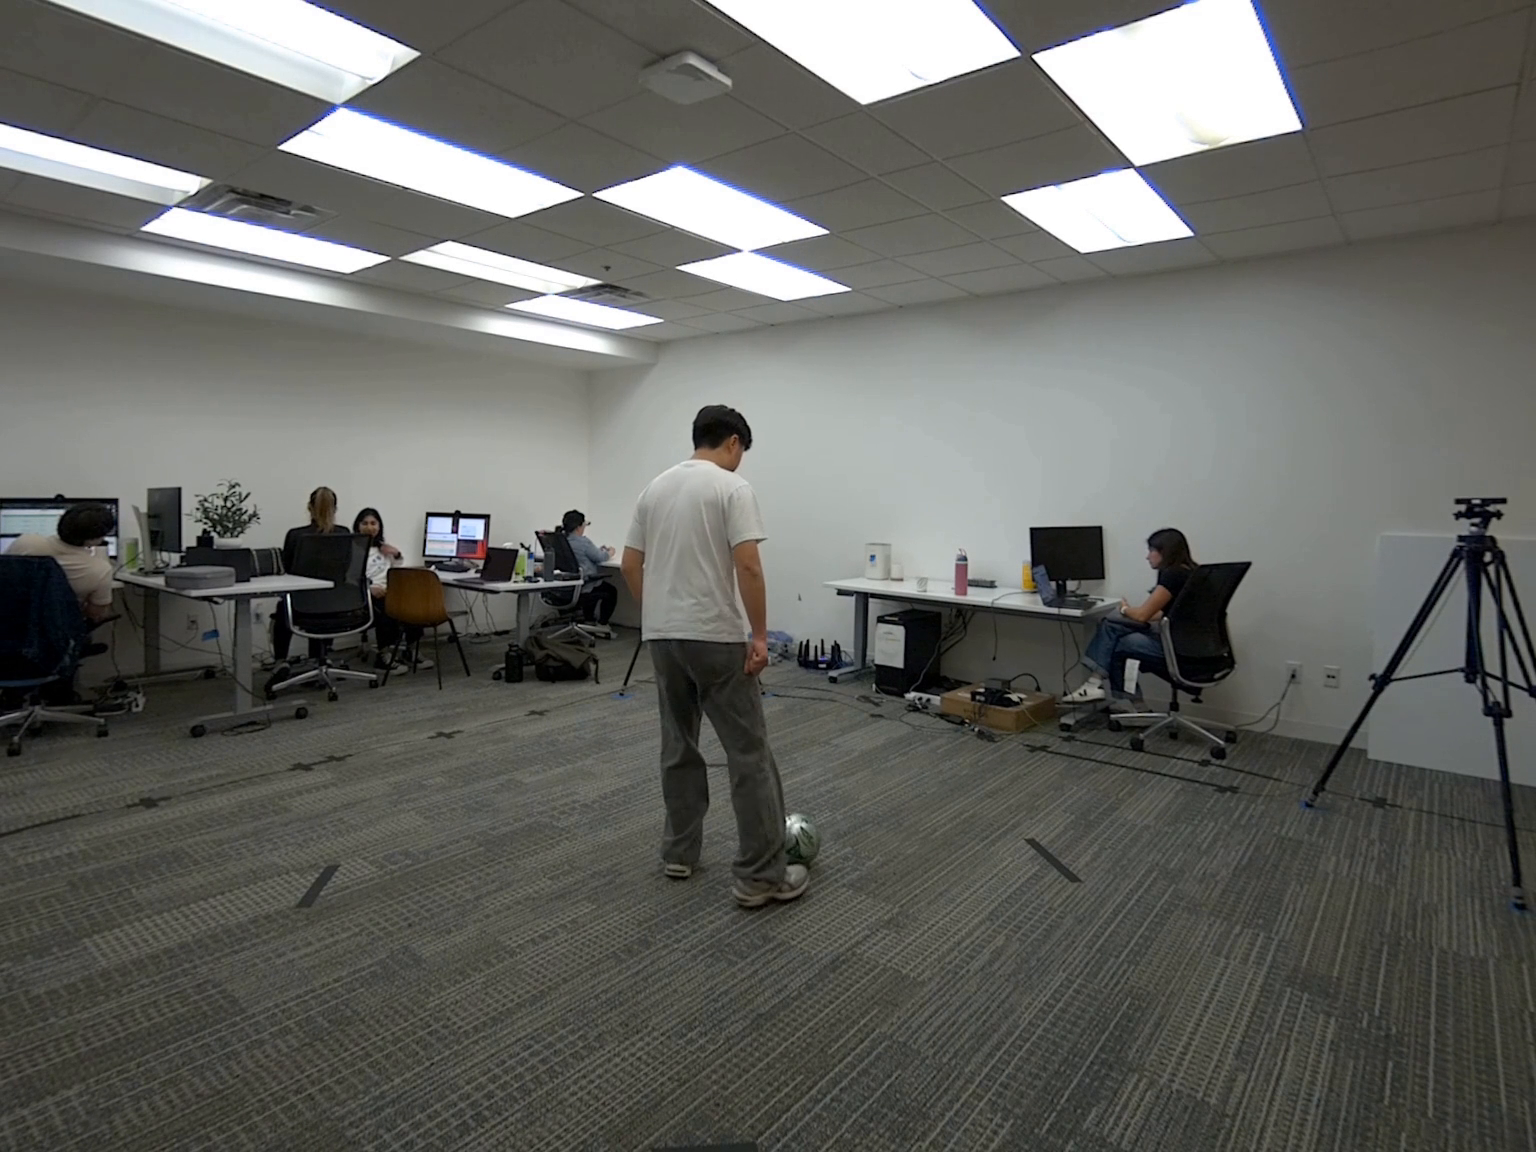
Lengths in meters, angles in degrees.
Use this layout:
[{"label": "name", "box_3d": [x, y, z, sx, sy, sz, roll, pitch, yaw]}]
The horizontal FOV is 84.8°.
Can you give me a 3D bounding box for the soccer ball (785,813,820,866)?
[{"label": "soccer ball", "box_3d": [0.100, 0.974, 3.154, 0.187, 0.187, 0.188, 1, 4, -2]}]
